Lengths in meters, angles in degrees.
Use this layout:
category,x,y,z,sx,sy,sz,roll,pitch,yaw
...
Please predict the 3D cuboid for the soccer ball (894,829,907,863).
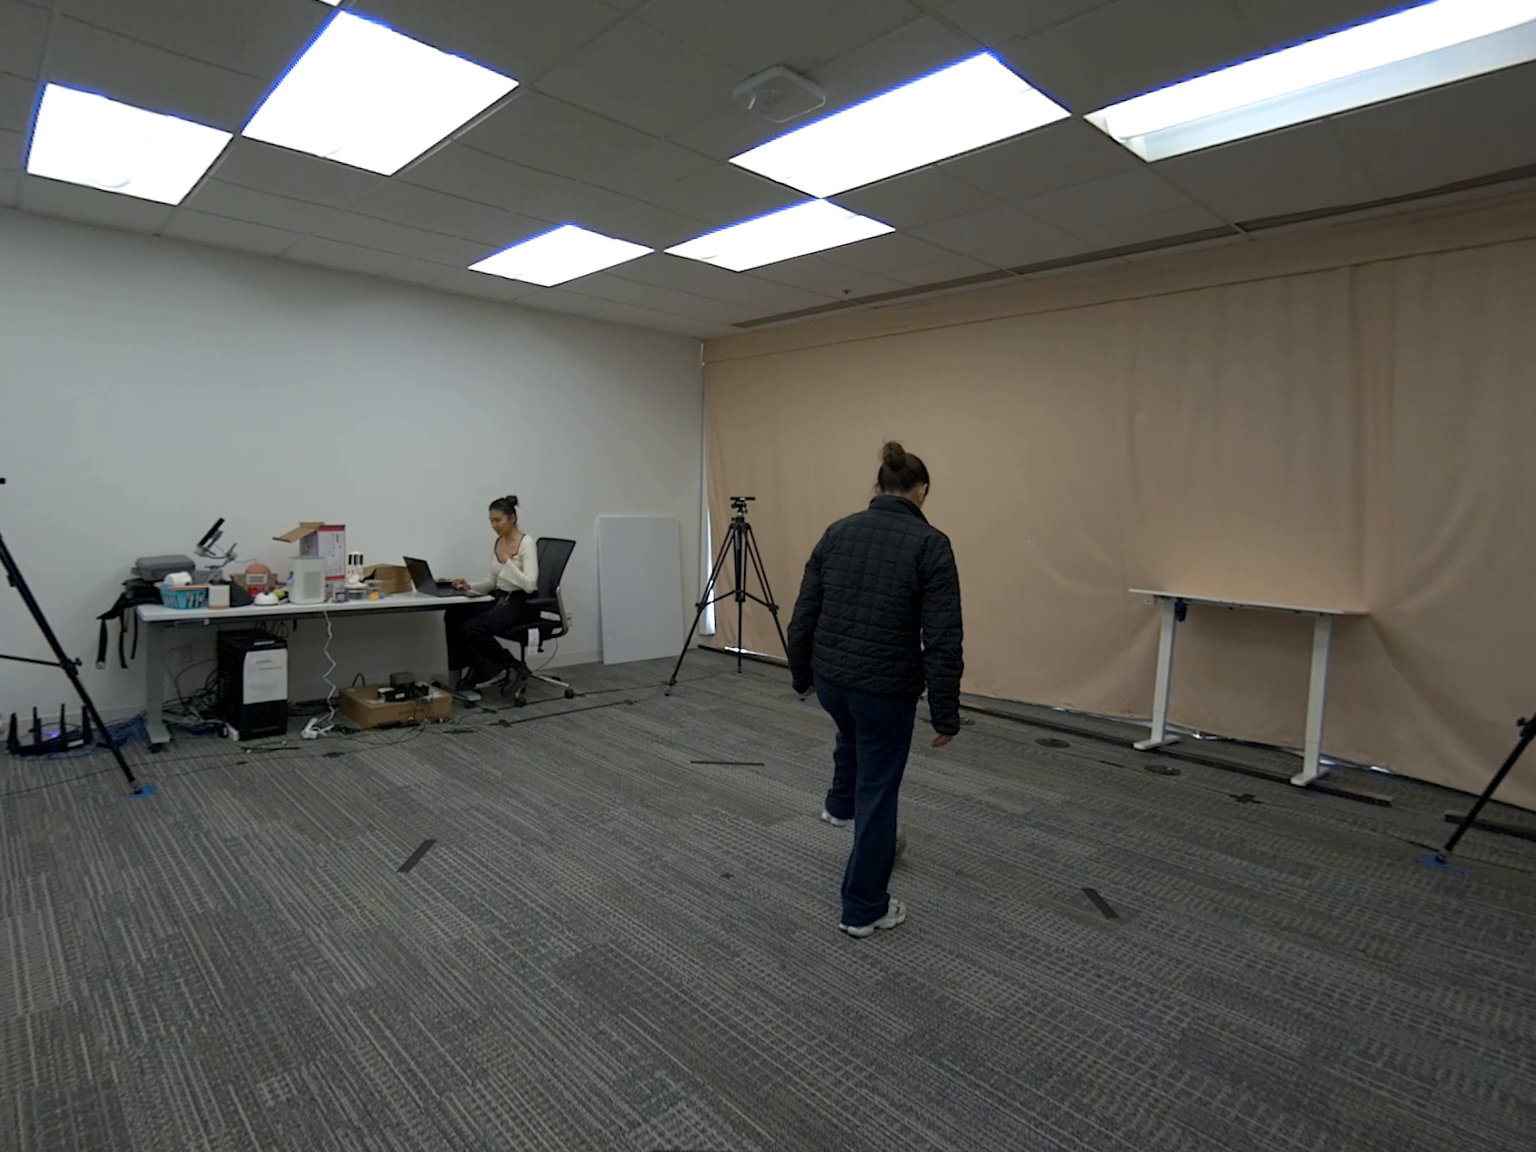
category,x,y,z,sx,sy,sz,roll,pitch,yaw
soccer ball,0.438,1.018,3.251,0.187,0.187,0.188,1,4,-1
